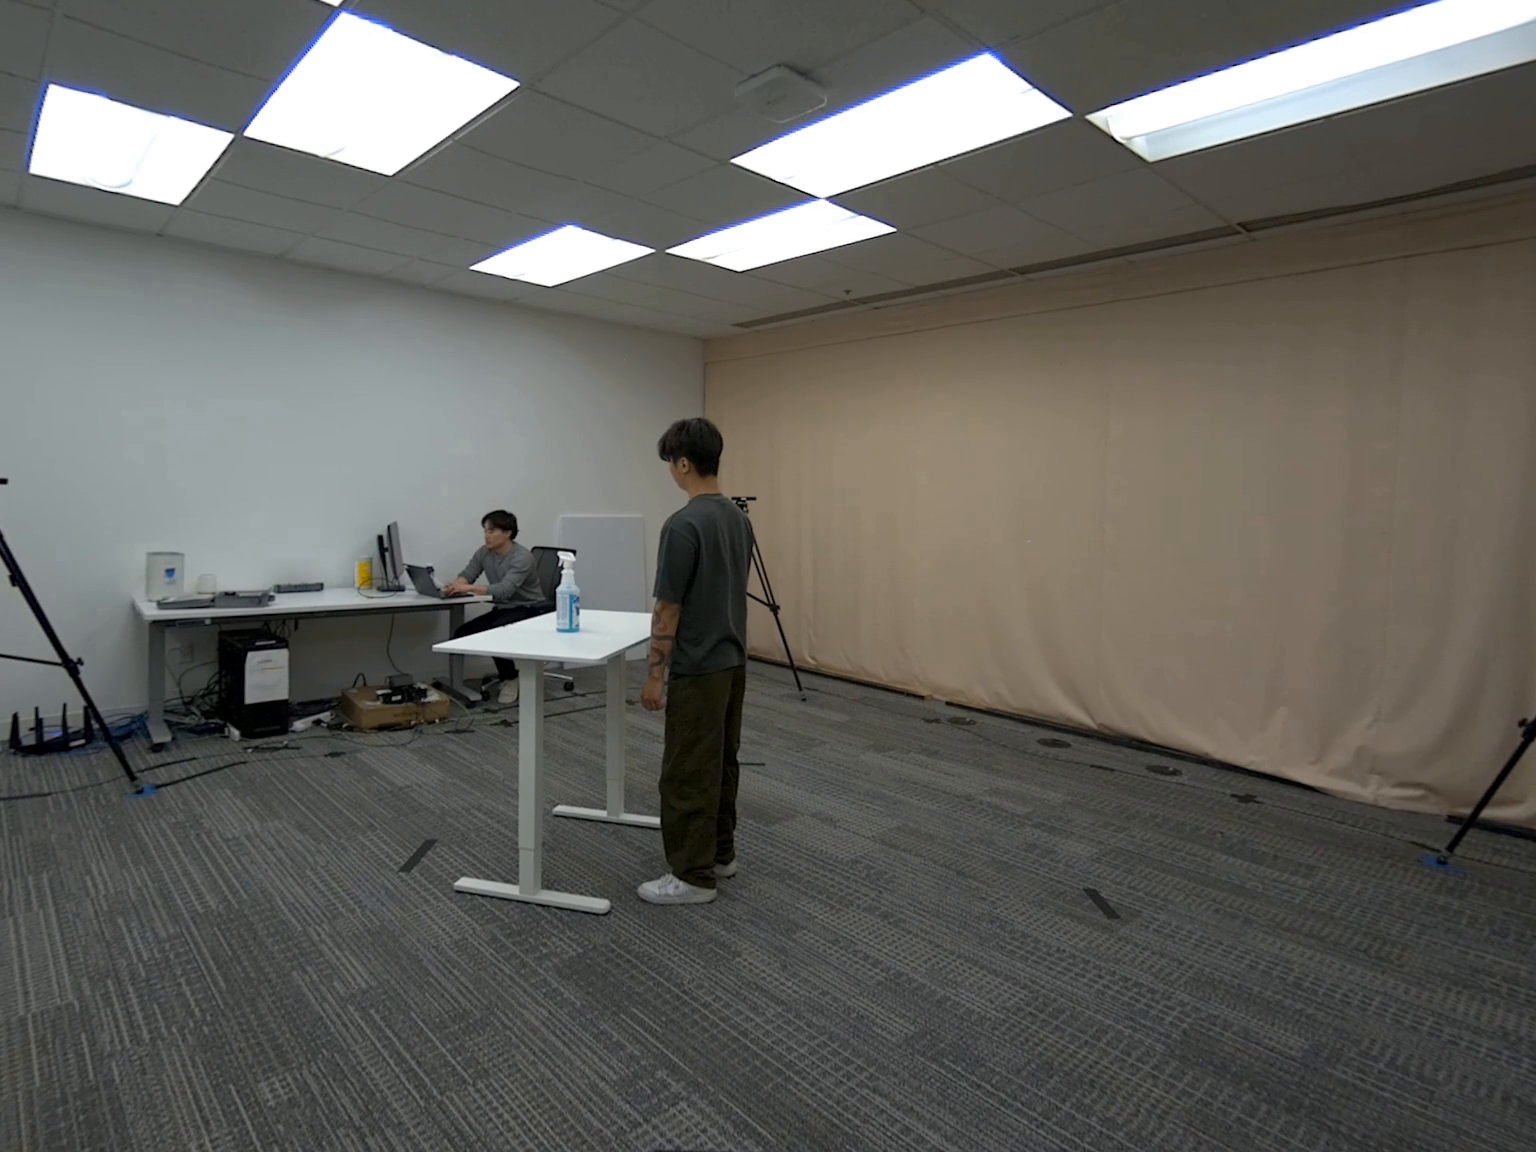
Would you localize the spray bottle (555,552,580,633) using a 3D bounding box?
[{"bbox_3d":[-0.752,0.062,3.145,0.085,0.296,0.092,-3,6,-29],"label":"spray bottle"}]
